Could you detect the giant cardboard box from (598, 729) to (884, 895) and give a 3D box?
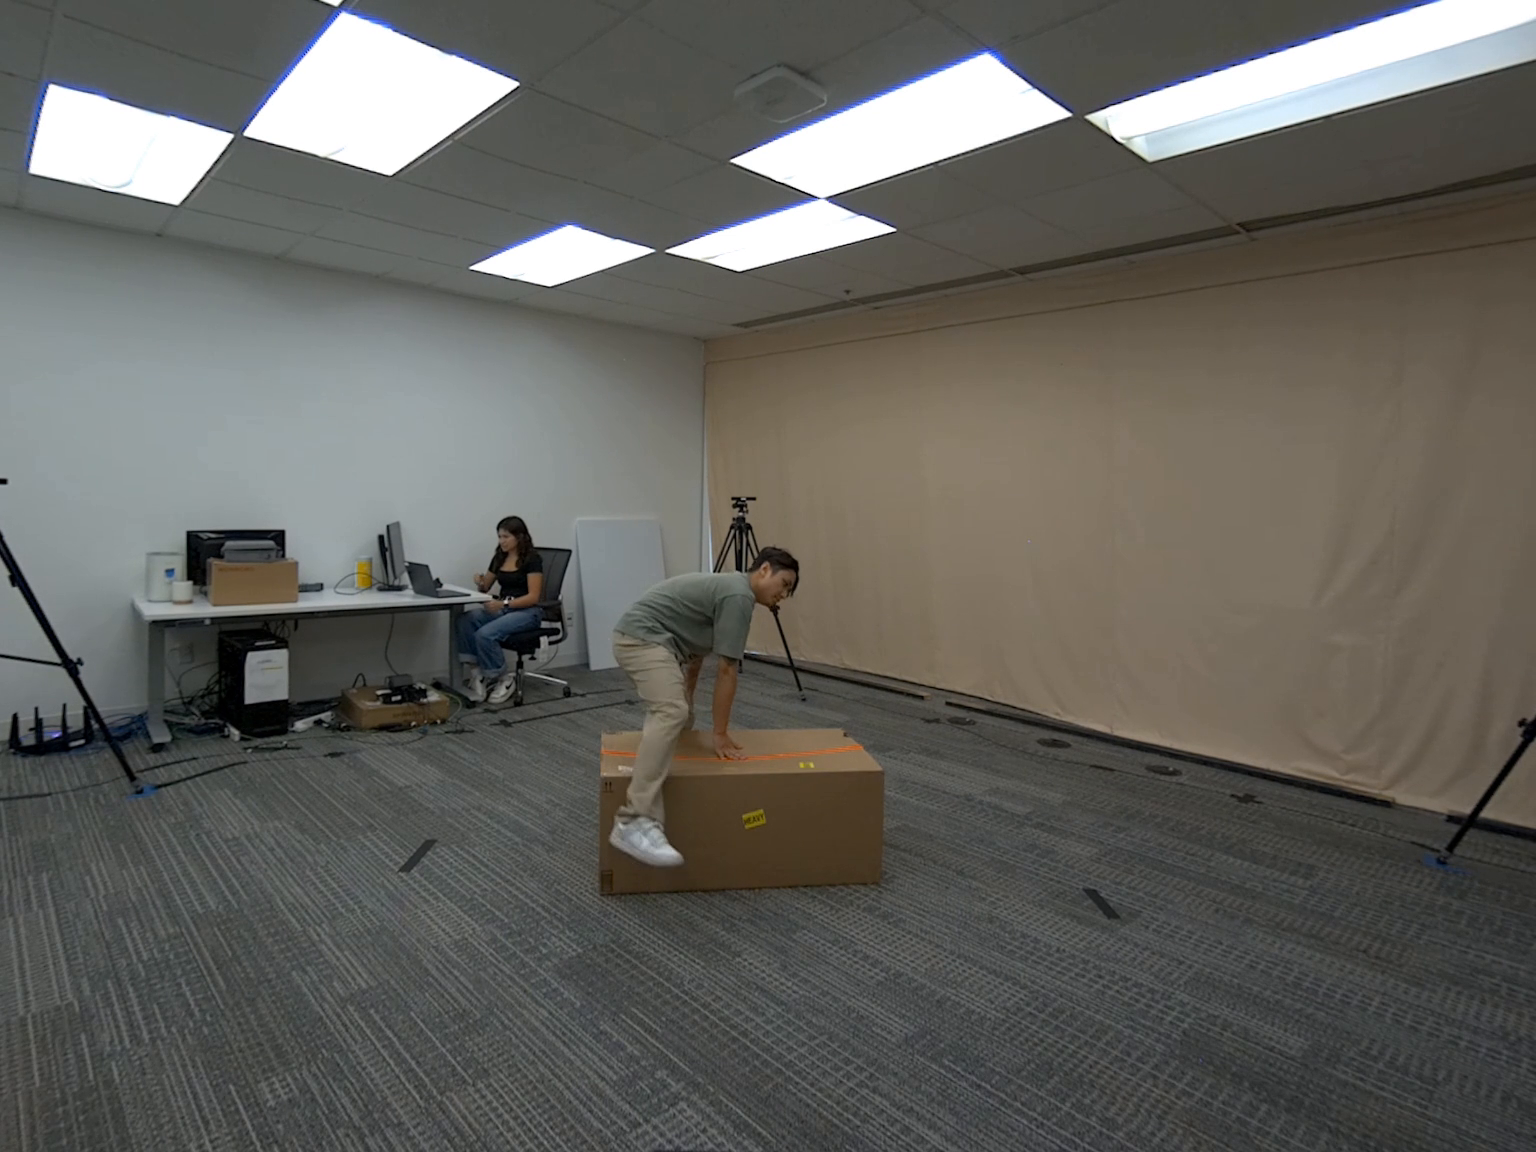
[{"bbox_3d":[-0.142,0.885,3.269,1.018,0.425,0.583,1,5,-9],"label":"giant cardboard box"}]
